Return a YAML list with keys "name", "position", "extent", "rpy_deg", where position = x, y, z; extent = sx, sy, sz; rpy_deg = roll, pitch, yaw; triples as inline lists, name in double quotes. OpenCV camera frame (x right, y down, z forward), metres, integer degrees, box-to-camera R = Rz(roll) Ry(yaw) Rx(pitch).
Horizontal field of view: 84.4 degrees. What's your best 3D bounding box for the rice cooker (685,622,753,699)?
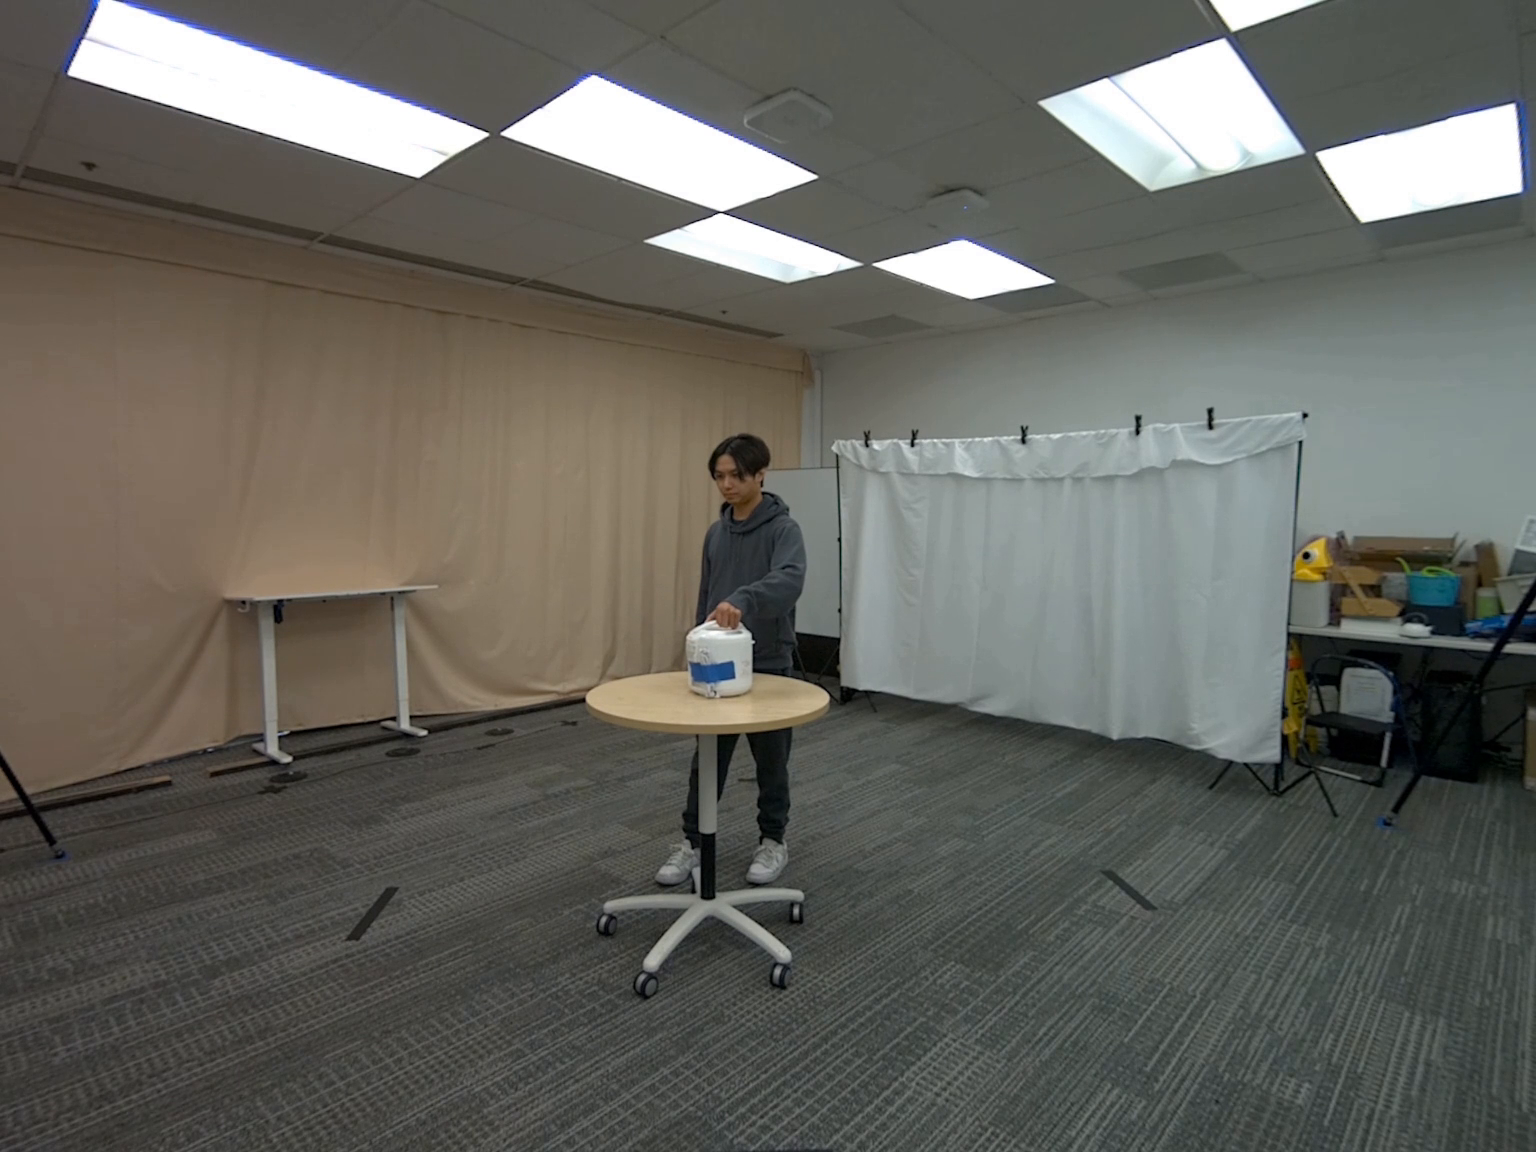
- name: "rice cooker"
  position: [-0.158, 0.255, 2.698]
  extent: [0.215, 0.232, 0.224]
  rpy_deg: [-1, 4, -29]
